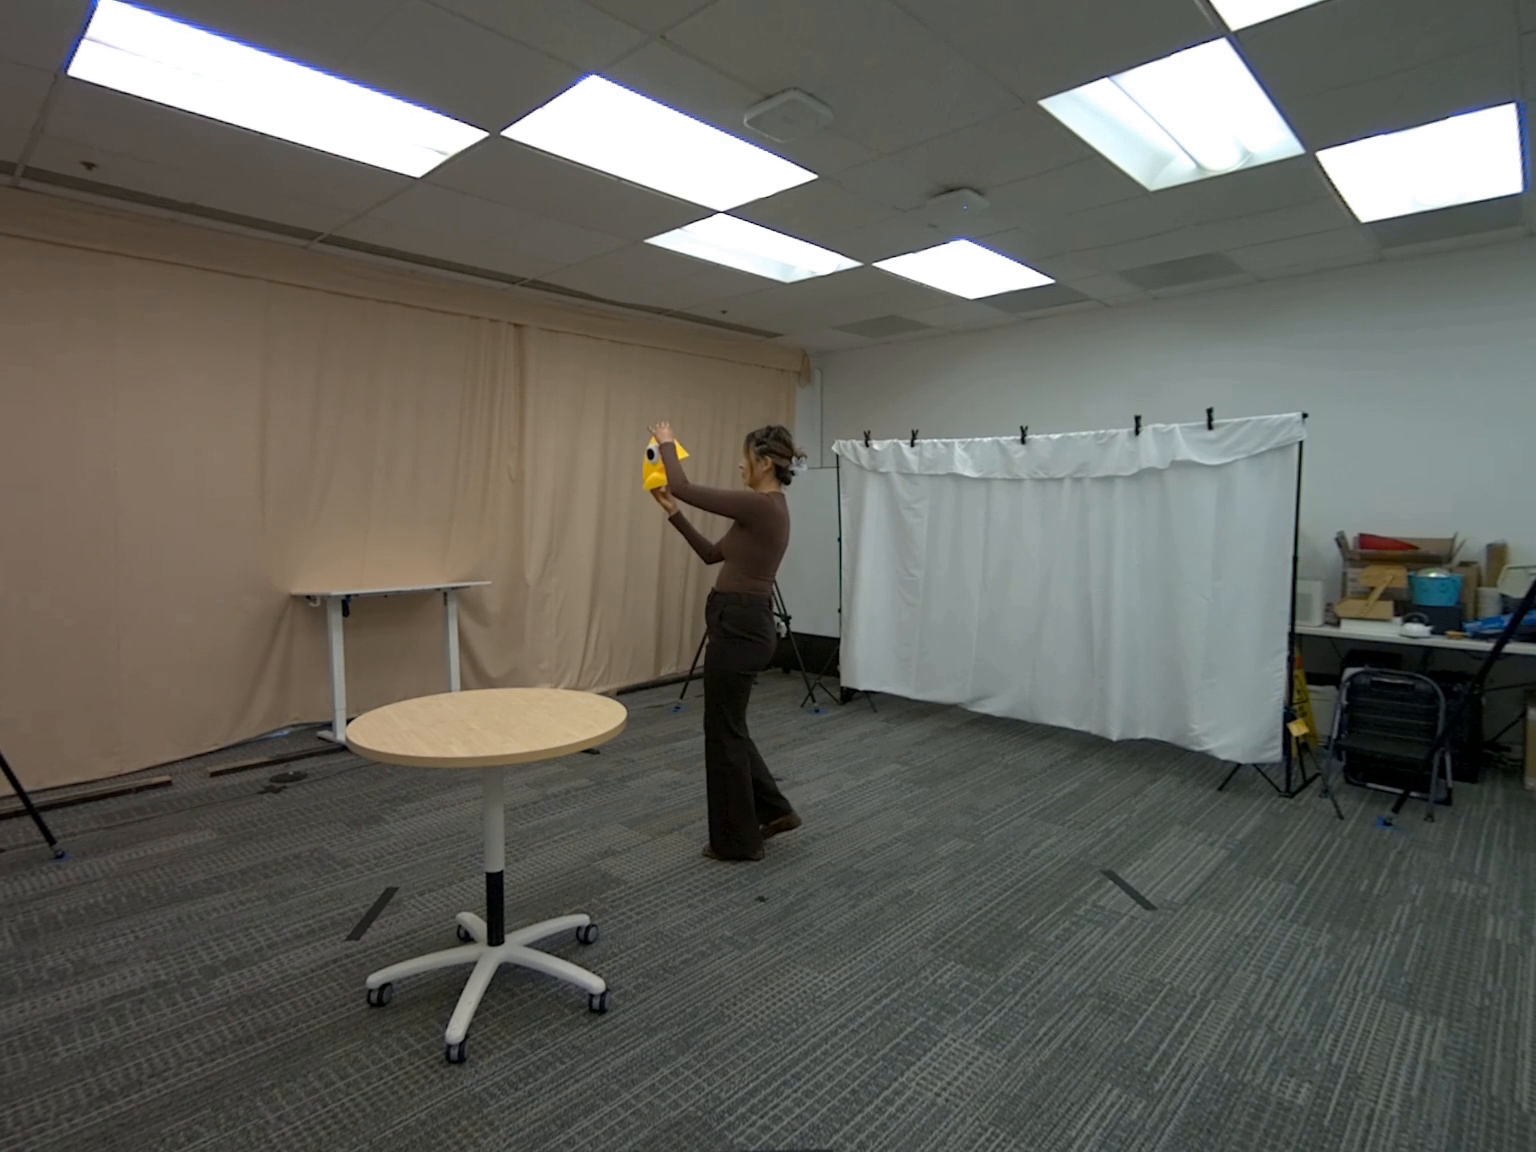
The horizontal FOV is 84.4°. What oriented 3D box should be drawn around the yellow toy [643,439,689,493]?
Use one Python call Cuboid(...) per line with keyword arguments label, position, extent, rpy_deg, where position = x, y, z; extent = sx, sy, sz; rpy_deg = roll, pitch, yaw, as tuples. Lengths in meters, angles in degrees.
Cuboid(label="yellow toy", position=(-0.436, -0.487, 3.407), extent=(0.196, 0.229, 0.203), rpy_deg=(-14, 10, 16))
